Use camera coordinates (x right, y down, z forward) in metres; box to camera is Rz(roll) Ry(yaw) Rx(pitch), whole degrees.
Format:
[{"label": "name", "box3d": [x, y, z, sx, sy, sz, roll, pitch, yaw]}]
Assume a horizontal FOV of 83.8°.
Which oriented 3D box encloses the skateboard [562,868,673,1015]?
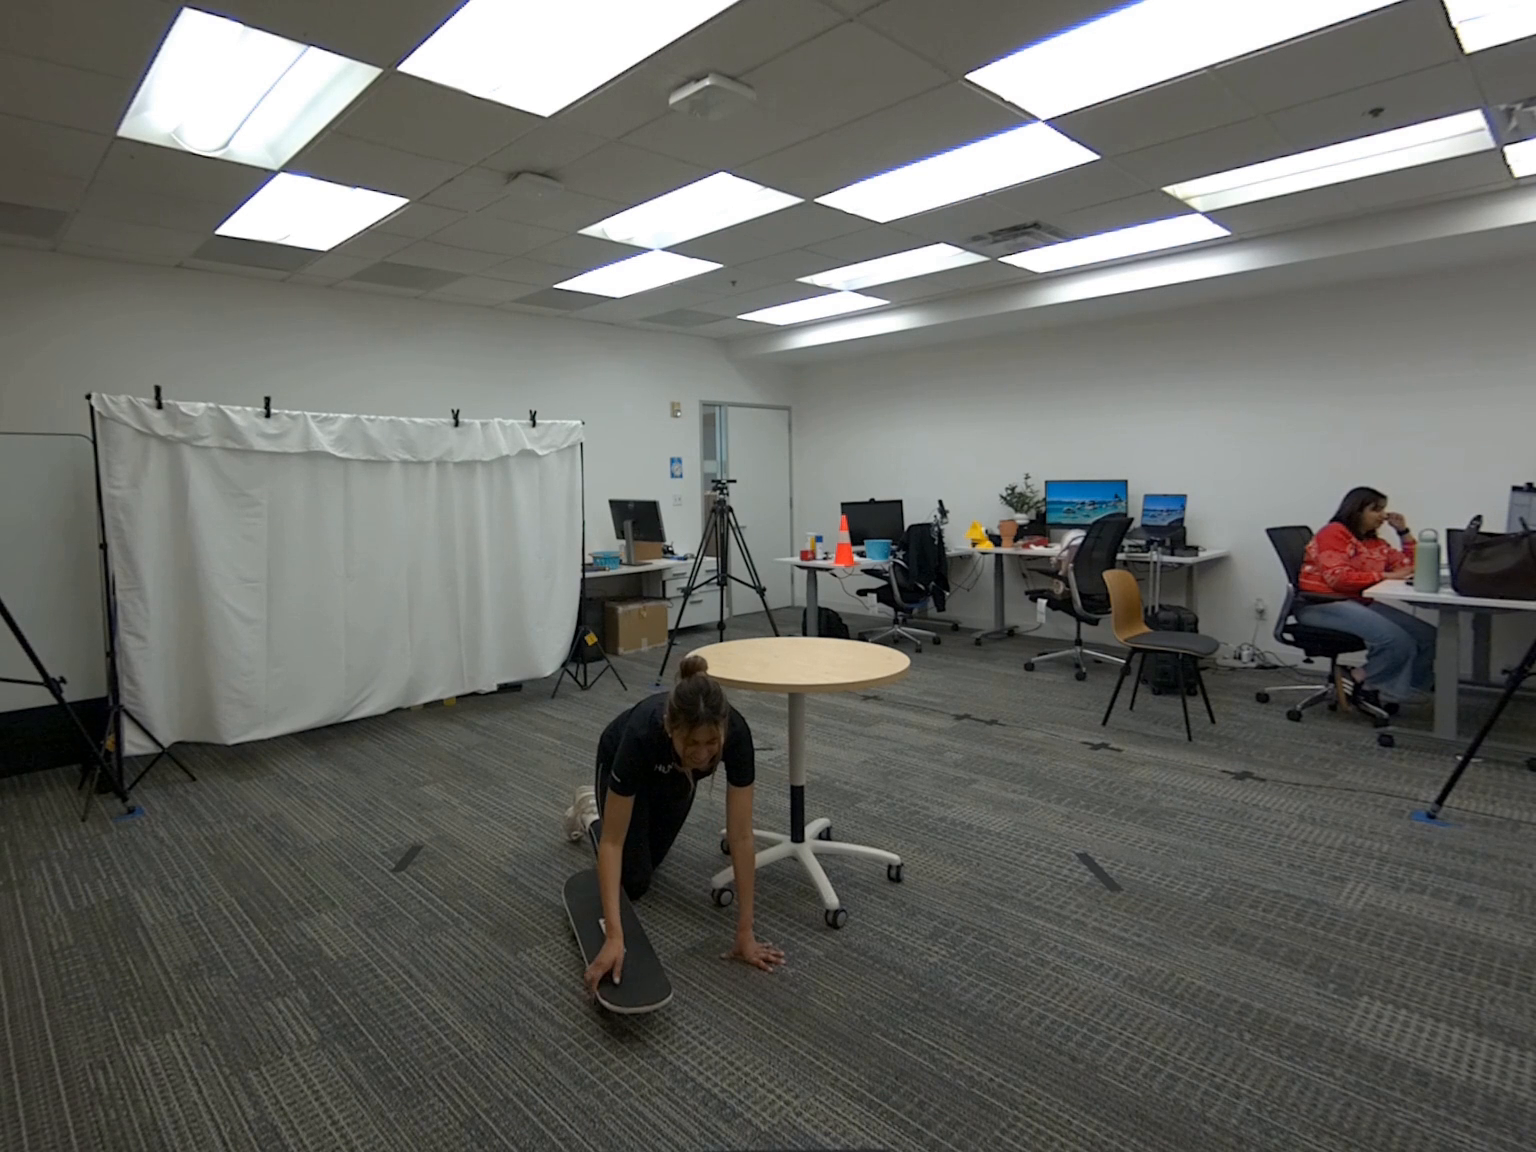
[{"label": "skateboard", "box3d": [-0.447, 1.075, 2.472, 0.190, 0.110, 0.804, -4, 7, -22]}]
